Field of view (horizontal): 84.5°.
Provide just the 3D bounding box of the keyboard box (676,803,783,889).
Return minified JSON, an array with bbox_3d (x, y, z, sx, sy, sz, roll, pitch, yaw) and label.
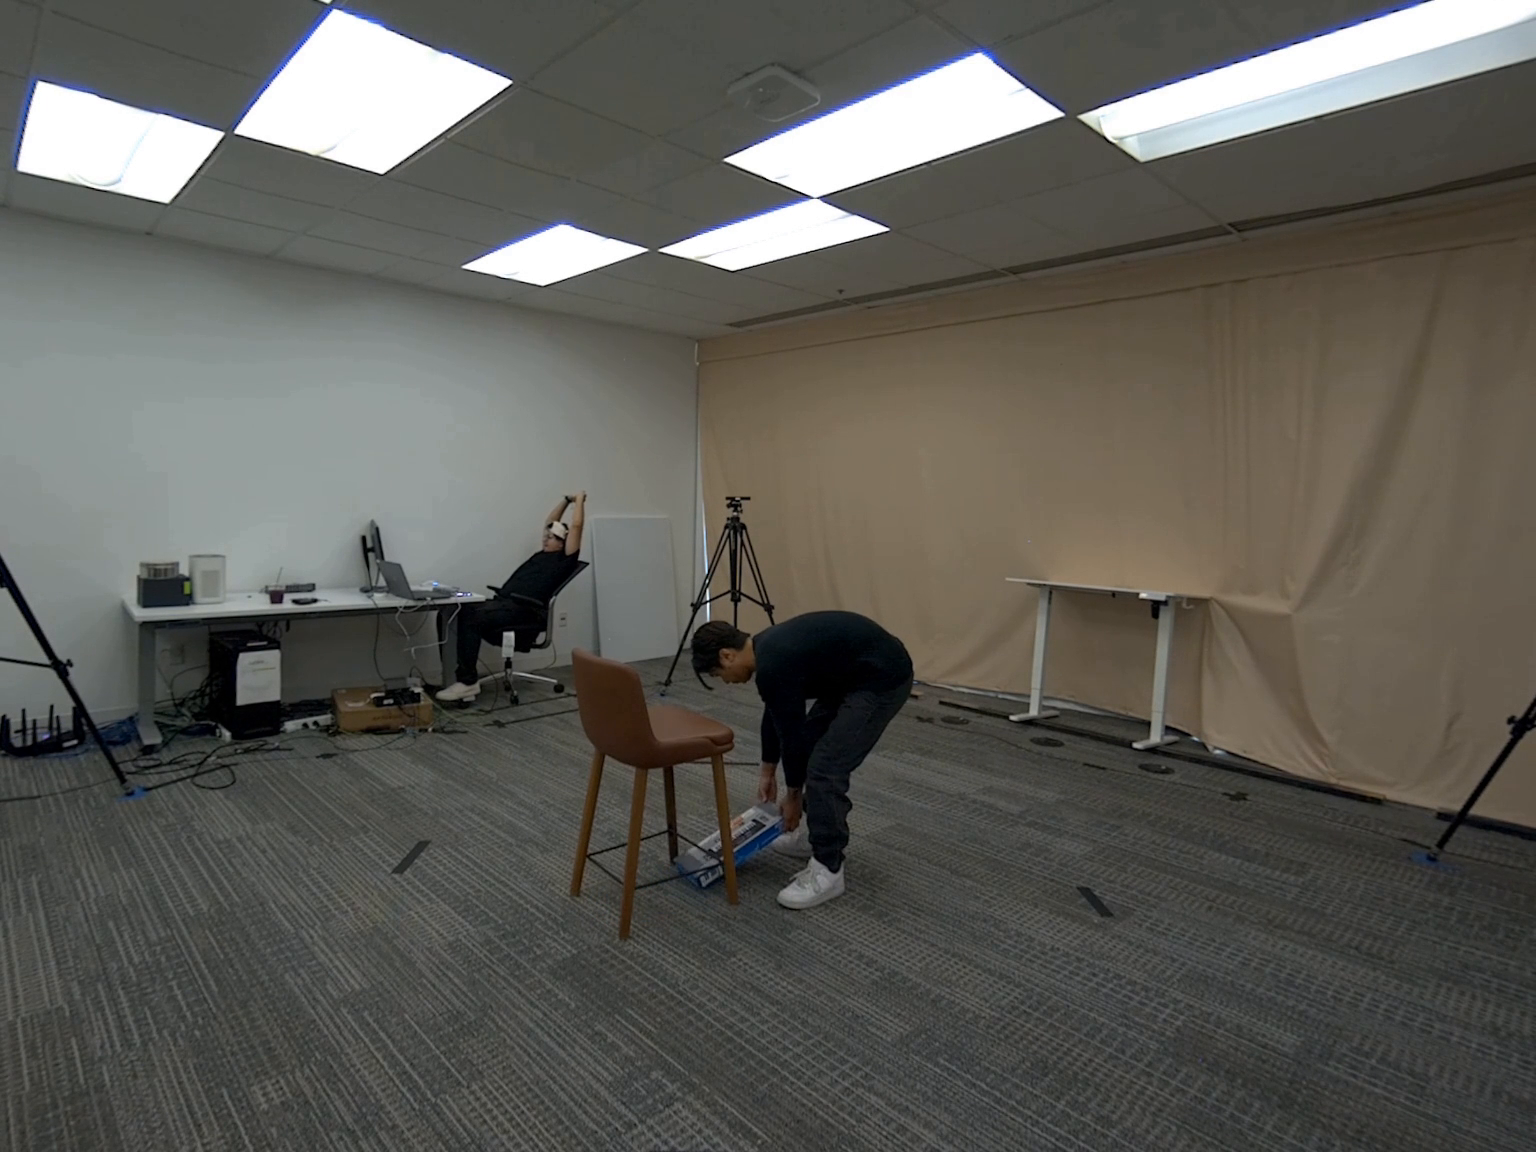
[{"bbox_3d":[-0.128,0.999,3.142,0.432,0.058,0.180,-26,19,-27],"label":"keyboard box"}]
